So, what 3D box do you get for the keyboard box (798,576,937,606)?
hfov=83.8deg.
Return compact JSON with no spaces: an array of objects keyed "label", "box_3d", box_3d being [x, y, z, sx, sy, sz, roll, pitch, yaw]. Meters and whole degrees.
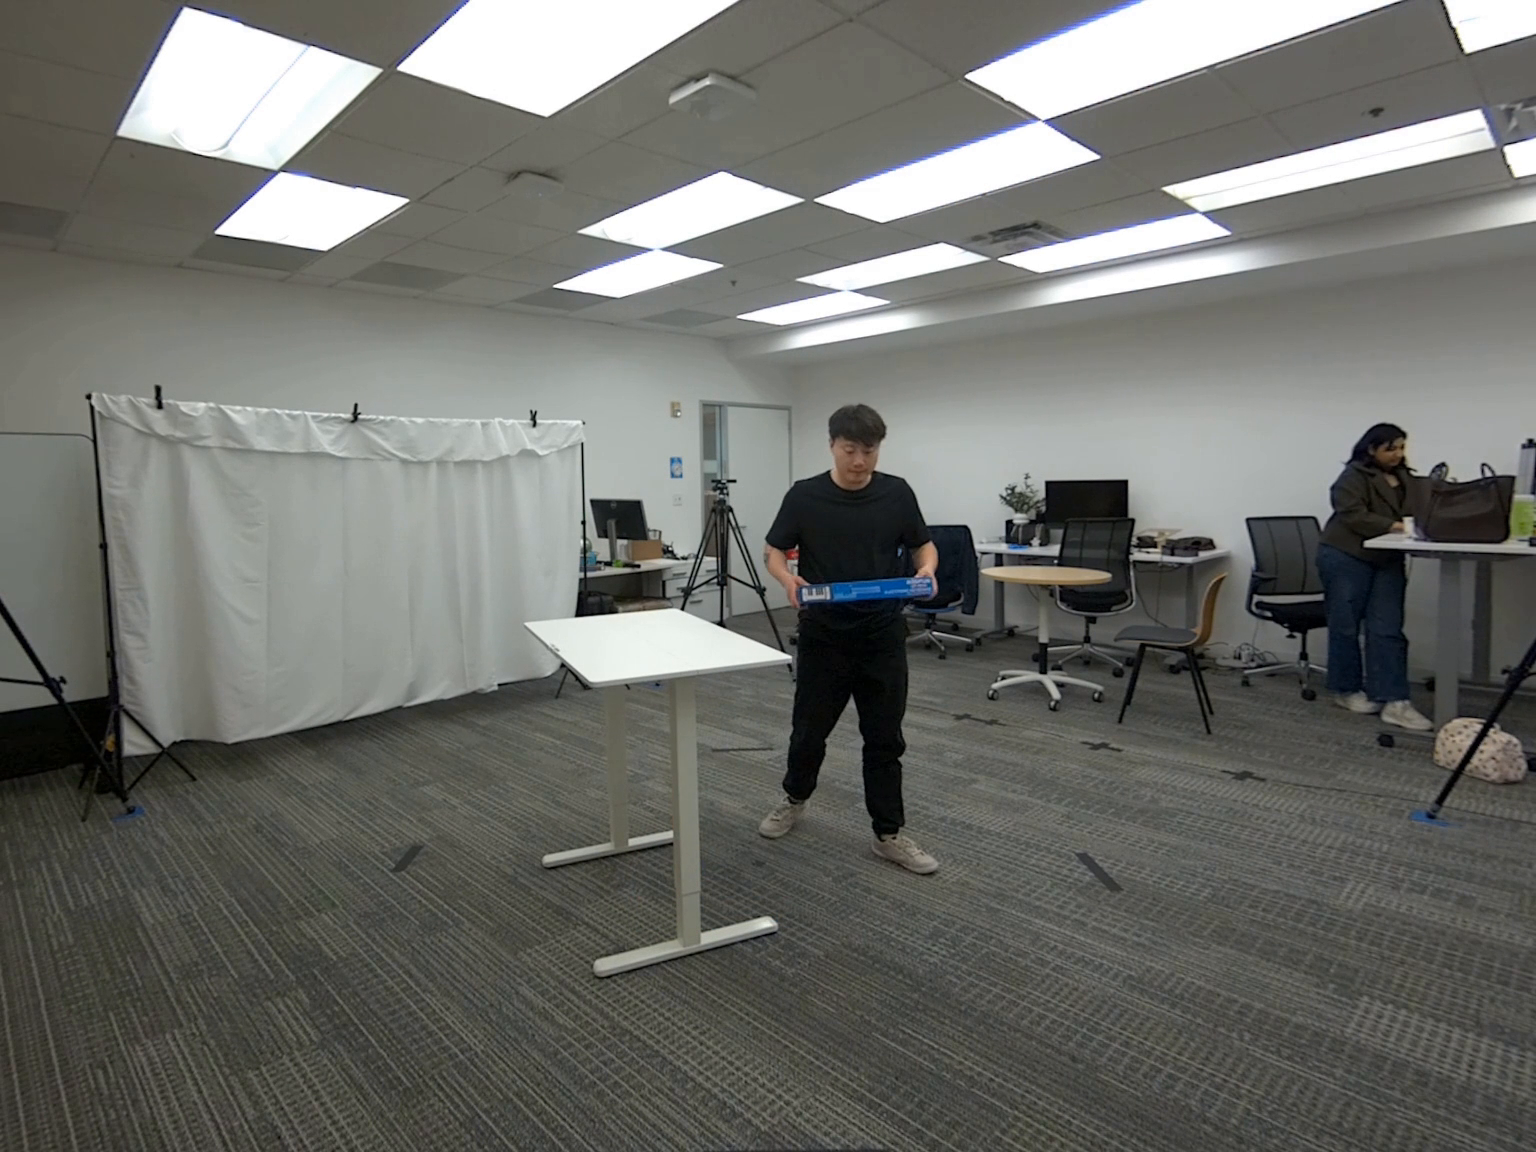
[{"label":"keyboard box","box_3d":[0.312,0.051,2.879,0.437,0.059,0.175,-4,-2,0]}]
